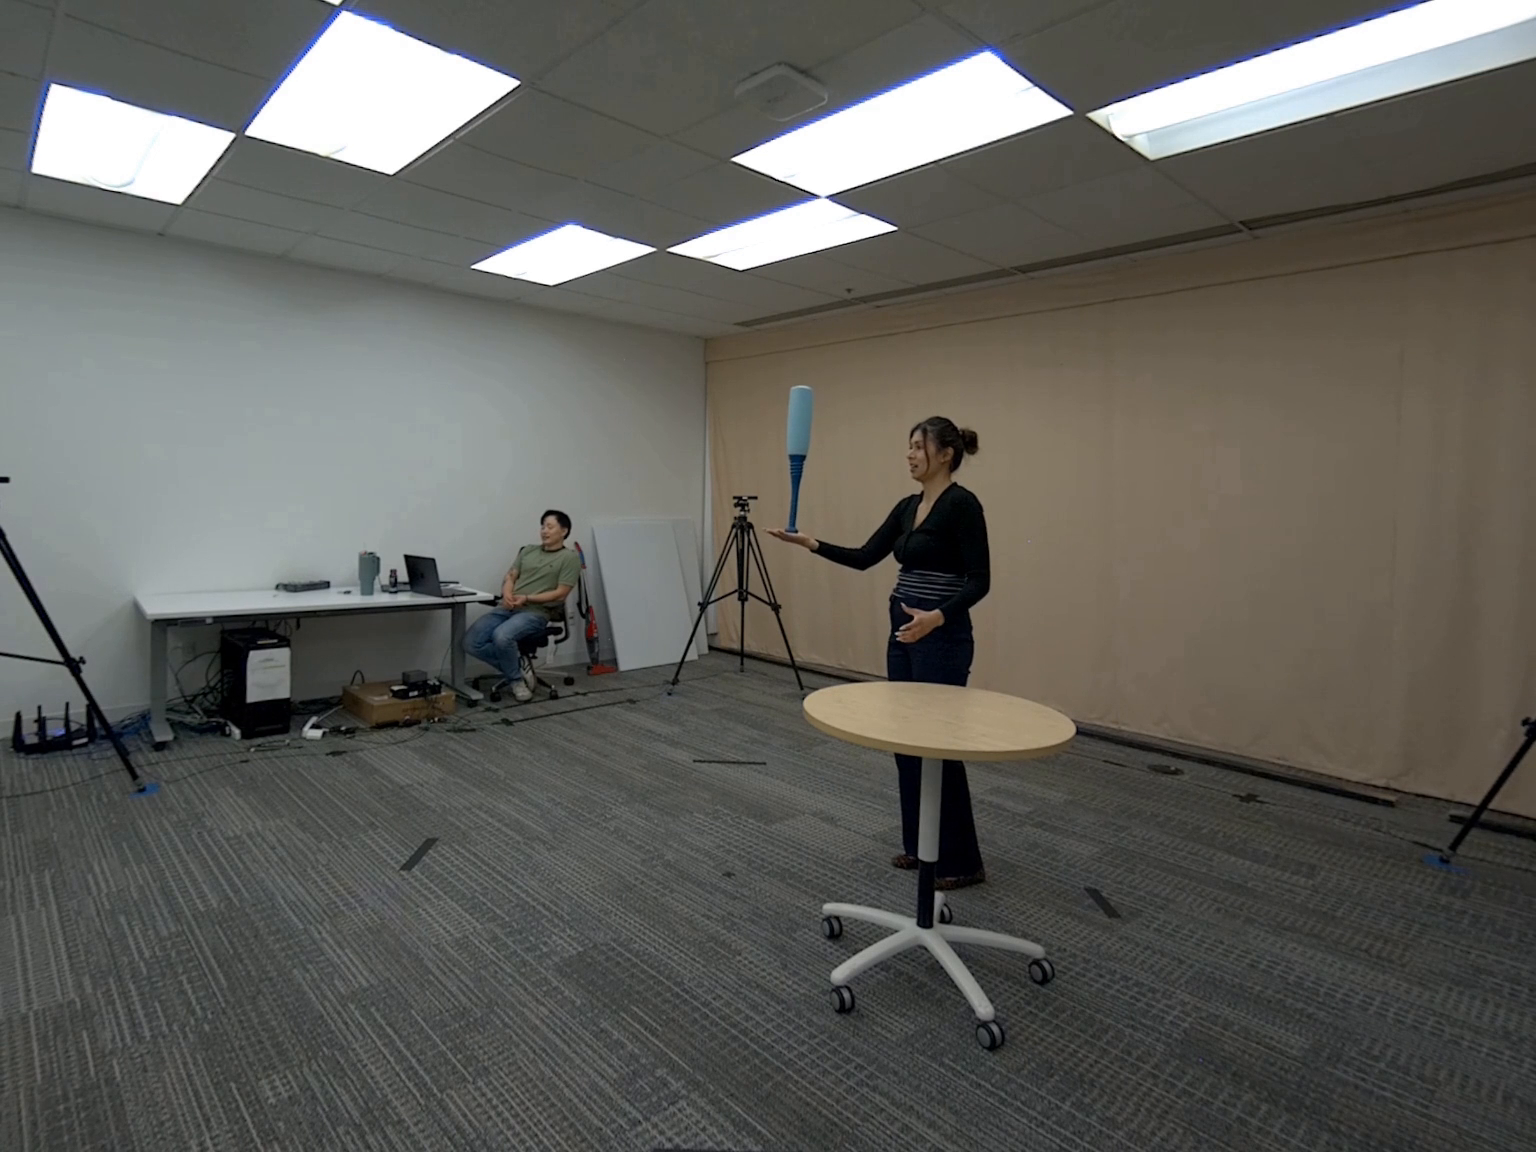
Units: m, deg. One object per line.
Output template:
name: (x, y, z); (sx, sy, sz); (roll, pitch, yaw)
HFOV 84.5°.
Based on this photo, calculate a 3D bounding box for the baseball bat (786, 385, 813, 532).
baseball bat: (0.111, -0.419, 3.082); (0.089, 0.542, 0.089); (4, 2, -2)
